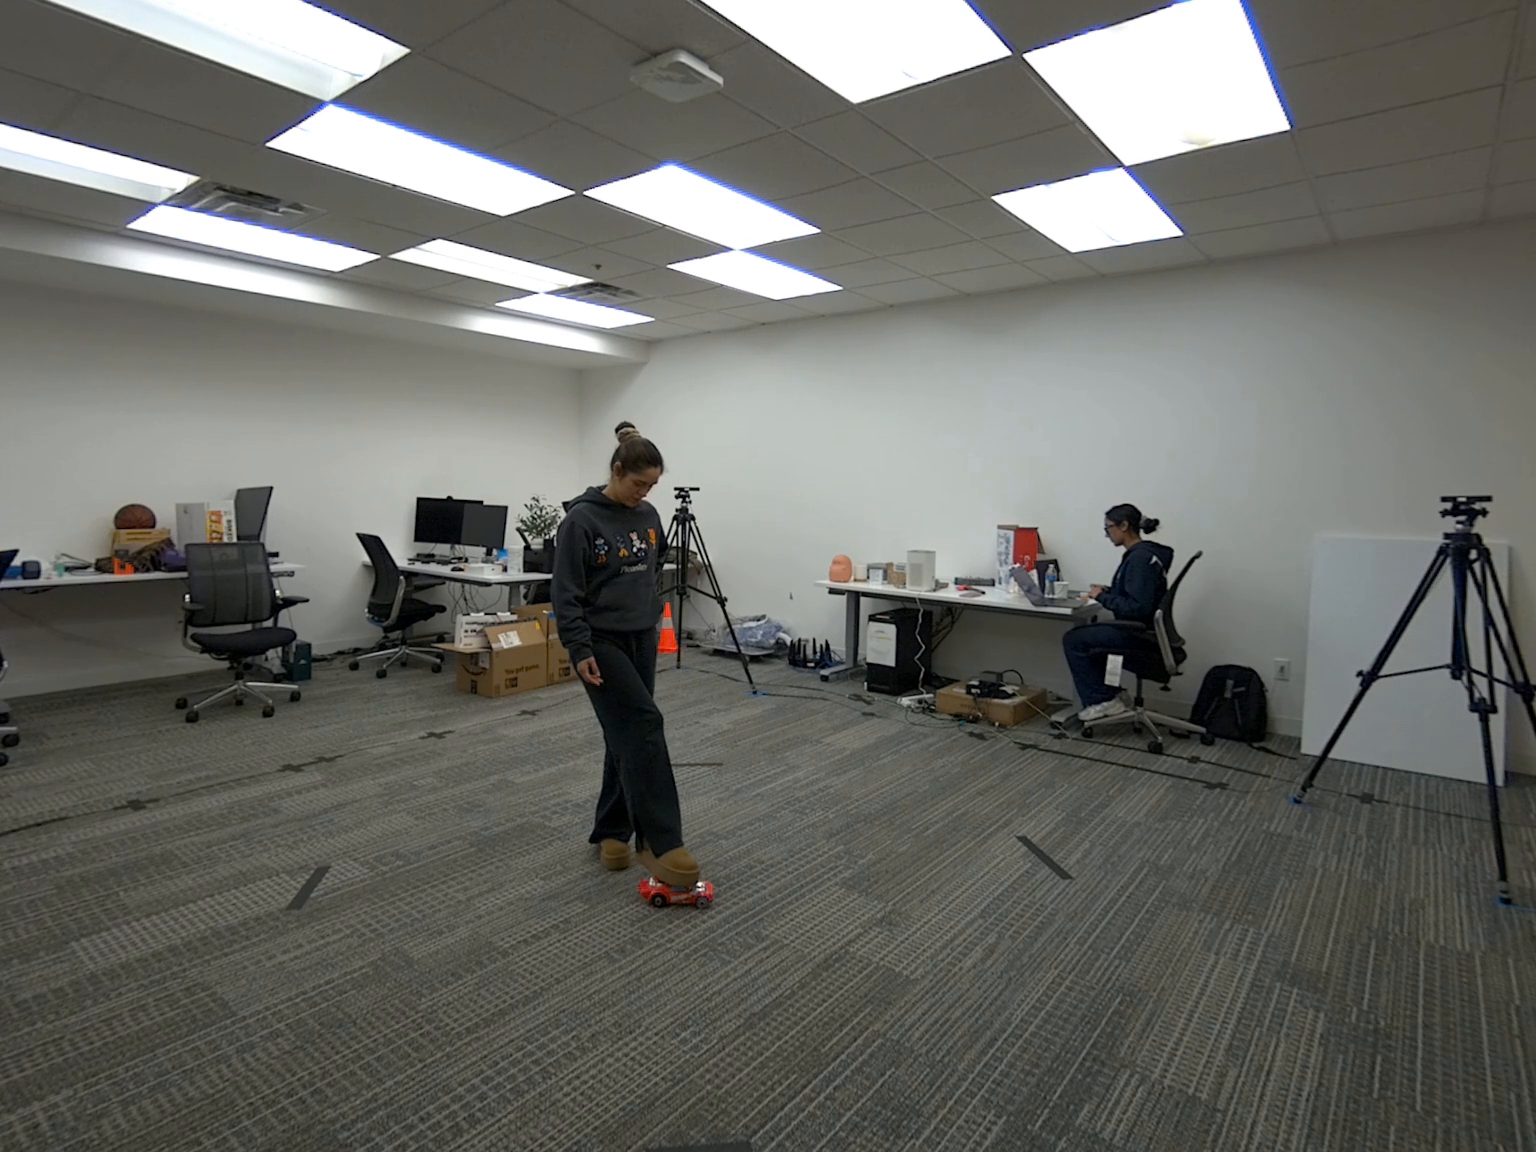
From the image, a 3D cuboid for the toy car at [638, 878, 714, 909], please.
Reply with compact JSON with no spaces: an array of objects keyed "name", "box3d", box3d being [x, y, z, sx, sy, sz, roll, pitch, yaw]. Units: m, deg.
[{"name":"toy car","box3d":[-0.315,1.060,2.861,0.254,0.083,0.130,11,3,-1]}]
